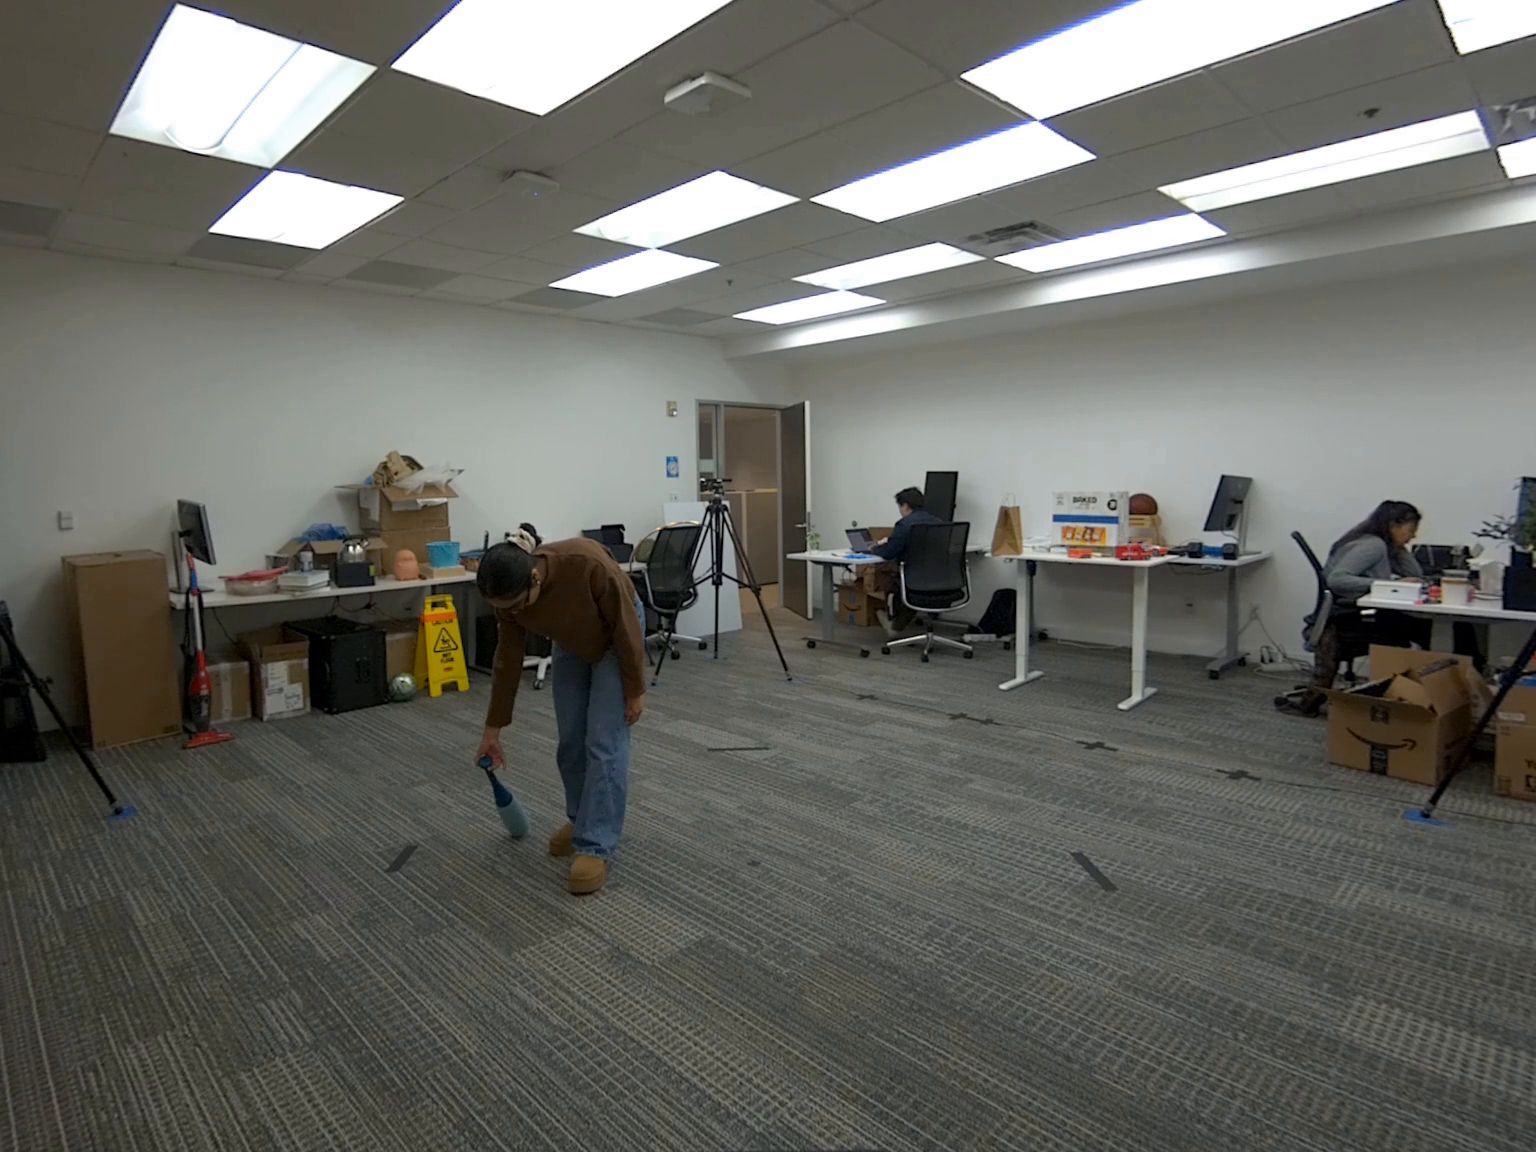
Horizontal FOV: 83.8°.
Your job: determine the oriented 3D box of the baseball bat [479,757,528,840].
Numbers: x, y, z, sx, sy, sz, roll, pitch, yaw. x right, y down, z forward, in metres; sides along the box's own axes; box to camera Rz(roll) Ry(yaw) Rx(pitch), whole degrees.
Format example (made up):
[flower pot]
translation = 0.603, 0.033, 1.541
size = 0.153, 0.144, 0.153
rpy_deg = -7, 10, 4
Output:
[baseball bat]
translation = -0.994, 0.834, 3.219
size = 0.089, 0.091, 0.527
rpy_deg = -2, -42, 0
